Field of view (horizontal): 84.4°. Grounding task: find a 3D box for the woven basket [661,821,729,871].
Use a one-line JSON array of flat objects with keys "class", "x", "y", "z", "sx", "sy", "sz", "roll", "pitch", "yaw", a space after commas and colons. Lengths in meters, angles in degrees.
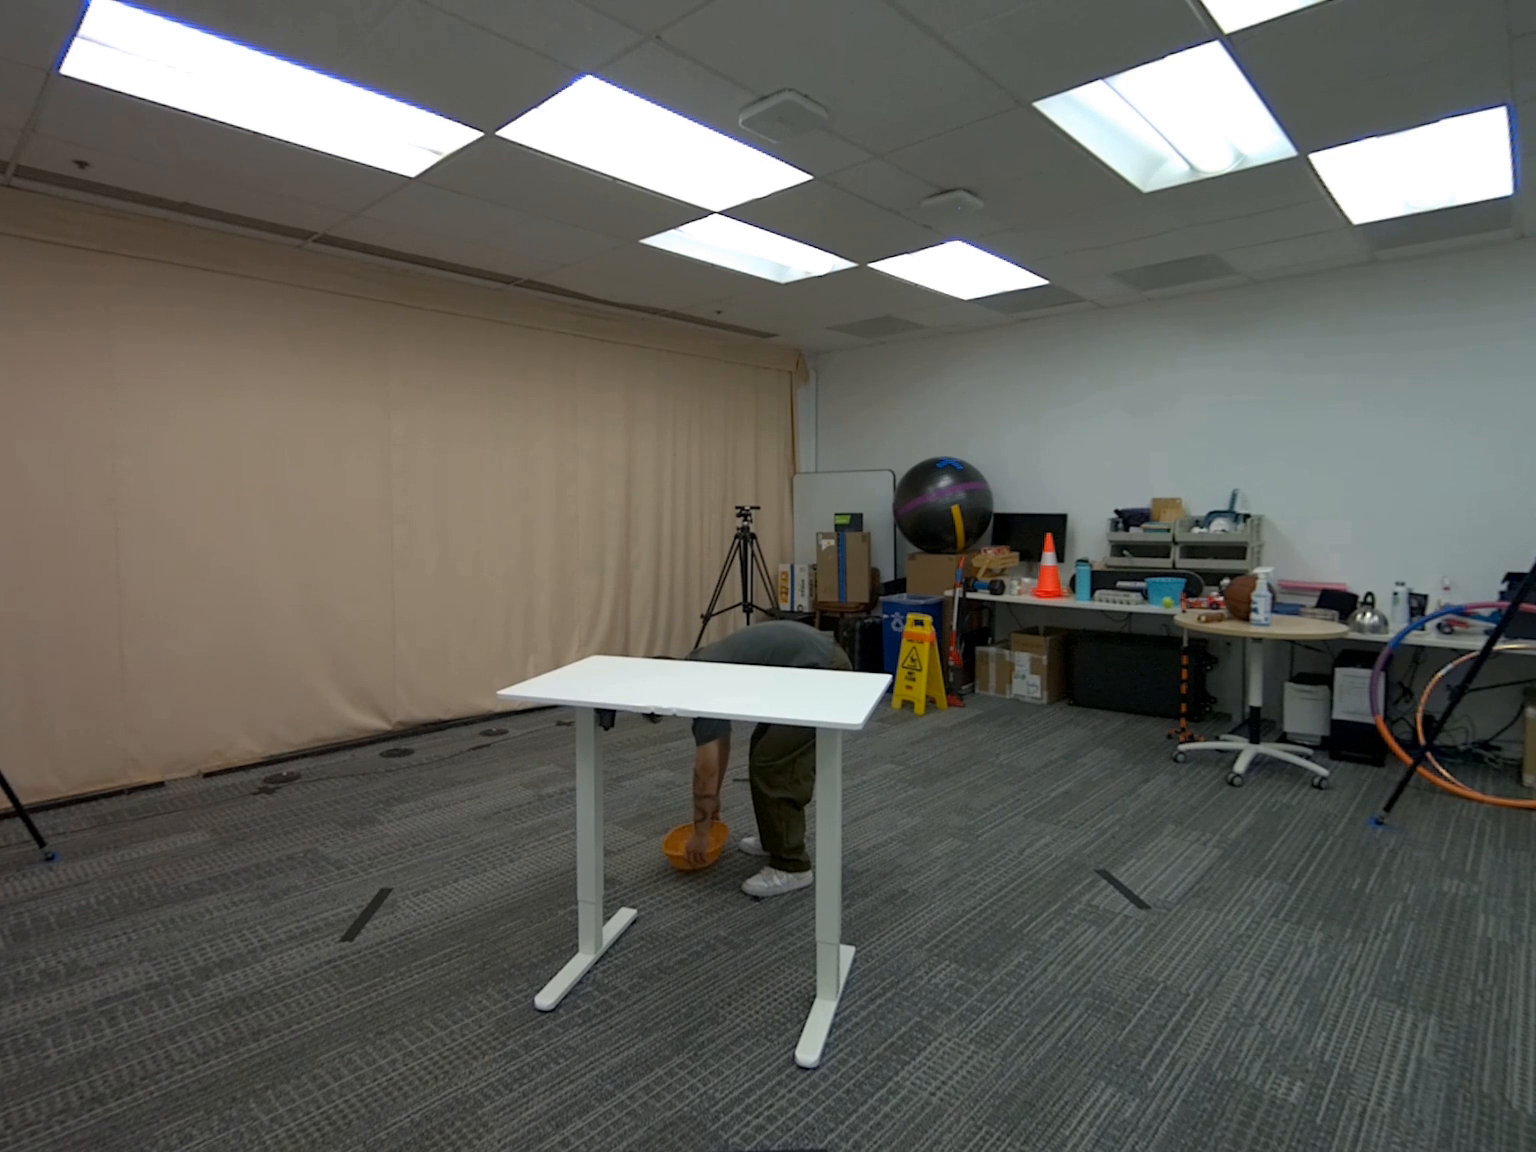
[{"class": "woven basket", "x": -0.274, "y": 1.045, "z": 3.262, "sx": 0.256, "sy": 0.073, "sz": 0.346, "roll": -4, "pitch": 4, "yaw": 12}]
